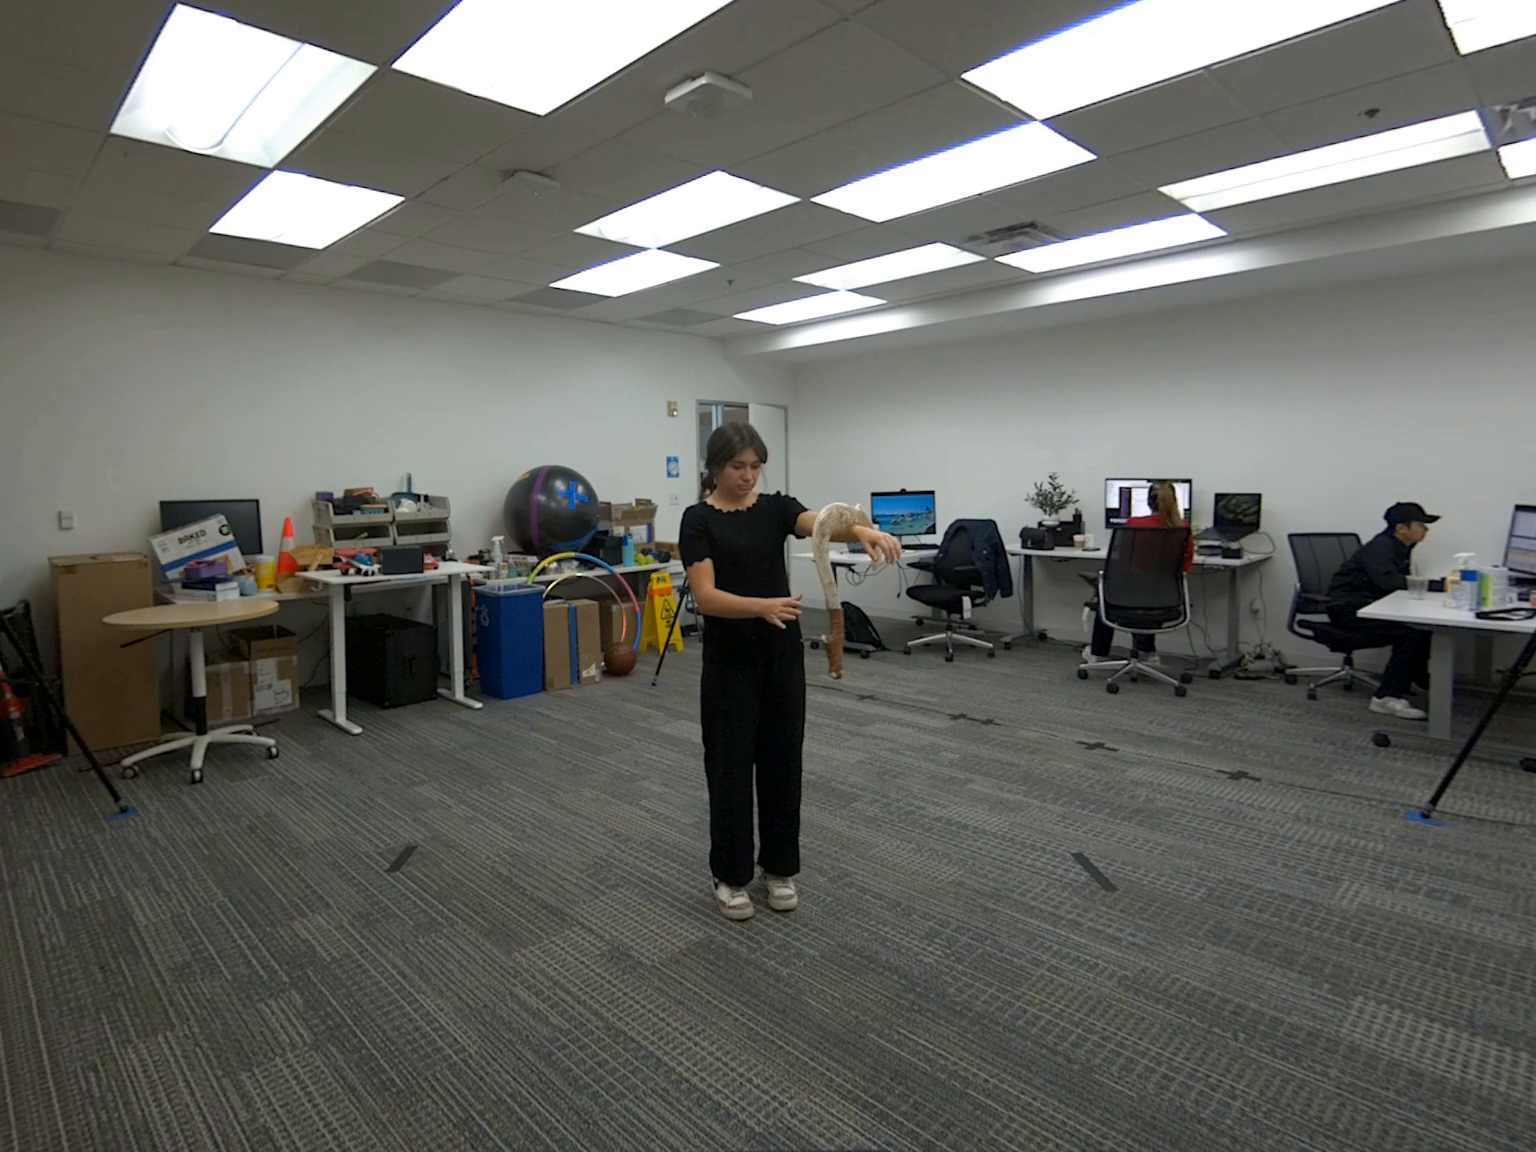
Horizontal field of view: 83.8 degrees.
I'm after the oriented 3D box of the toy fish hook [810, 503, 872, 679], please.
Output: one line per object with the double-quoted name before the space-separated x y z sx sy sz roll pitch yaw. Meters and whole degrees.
"toy fish hook" 0.236 0.045 2.466 0.221 0.510 0.049 1 -7 -15
